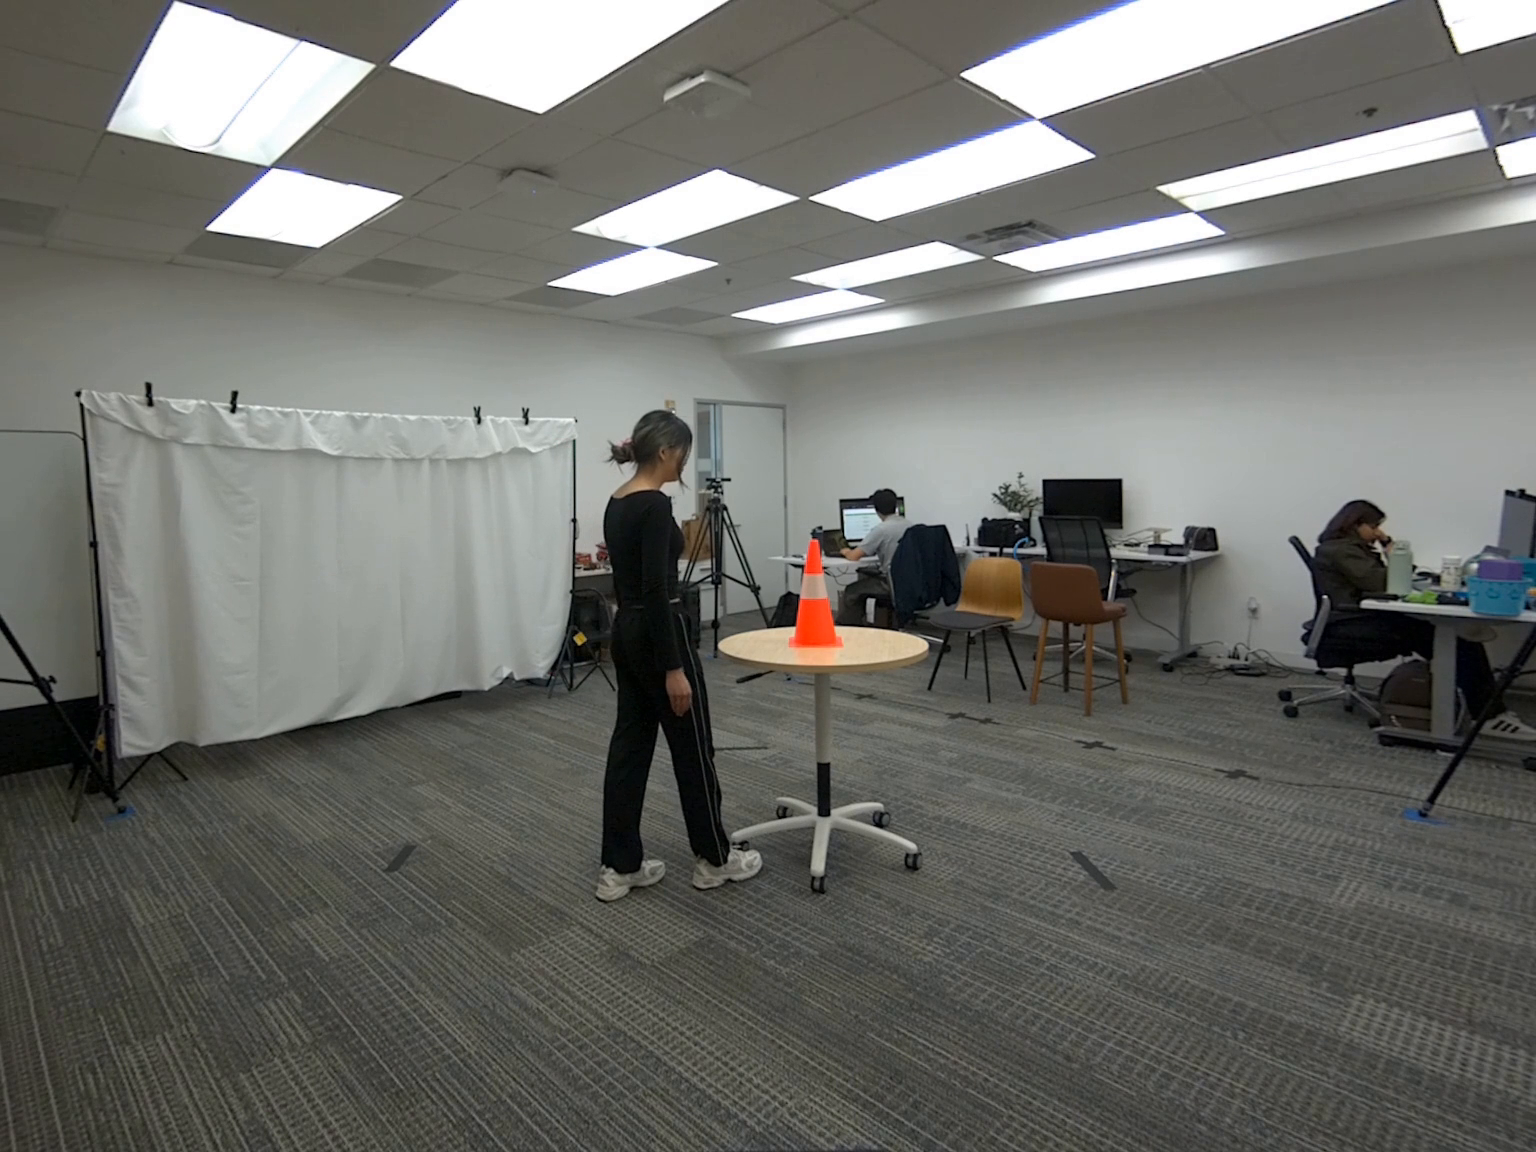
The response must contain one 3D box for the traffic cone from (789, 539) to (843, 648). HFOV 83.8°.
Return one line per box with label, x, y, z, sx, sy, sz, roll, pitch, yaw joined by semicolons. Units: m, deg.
traffic cone;0.174;0.058;3.173;0.204;0.383;0.204;-1;2;4
